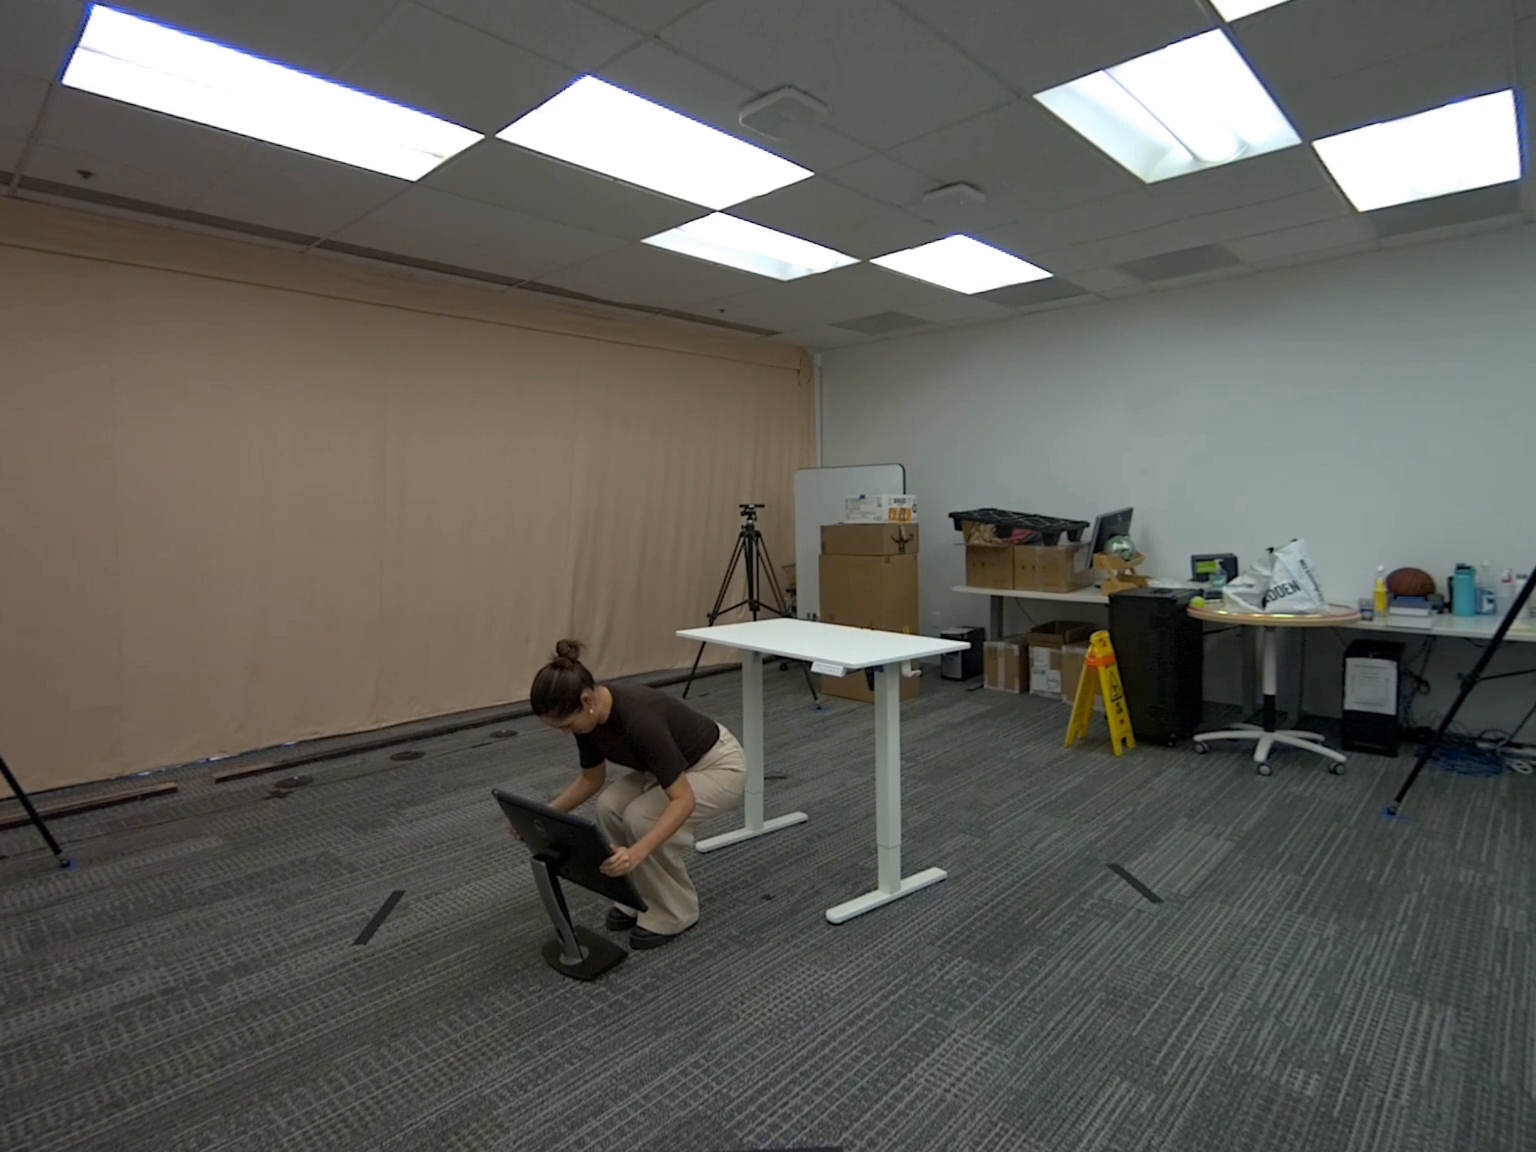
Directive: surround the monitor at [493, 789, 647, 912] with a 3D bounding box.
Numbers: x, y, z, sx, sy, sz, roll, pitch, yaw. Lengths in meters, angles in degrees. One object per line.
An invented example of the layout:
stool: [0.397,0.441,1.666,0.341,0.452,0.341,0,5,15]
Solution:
monitor: [-0.620,0.934,2.554,0.556,0.518,0.183,0,15,43]
